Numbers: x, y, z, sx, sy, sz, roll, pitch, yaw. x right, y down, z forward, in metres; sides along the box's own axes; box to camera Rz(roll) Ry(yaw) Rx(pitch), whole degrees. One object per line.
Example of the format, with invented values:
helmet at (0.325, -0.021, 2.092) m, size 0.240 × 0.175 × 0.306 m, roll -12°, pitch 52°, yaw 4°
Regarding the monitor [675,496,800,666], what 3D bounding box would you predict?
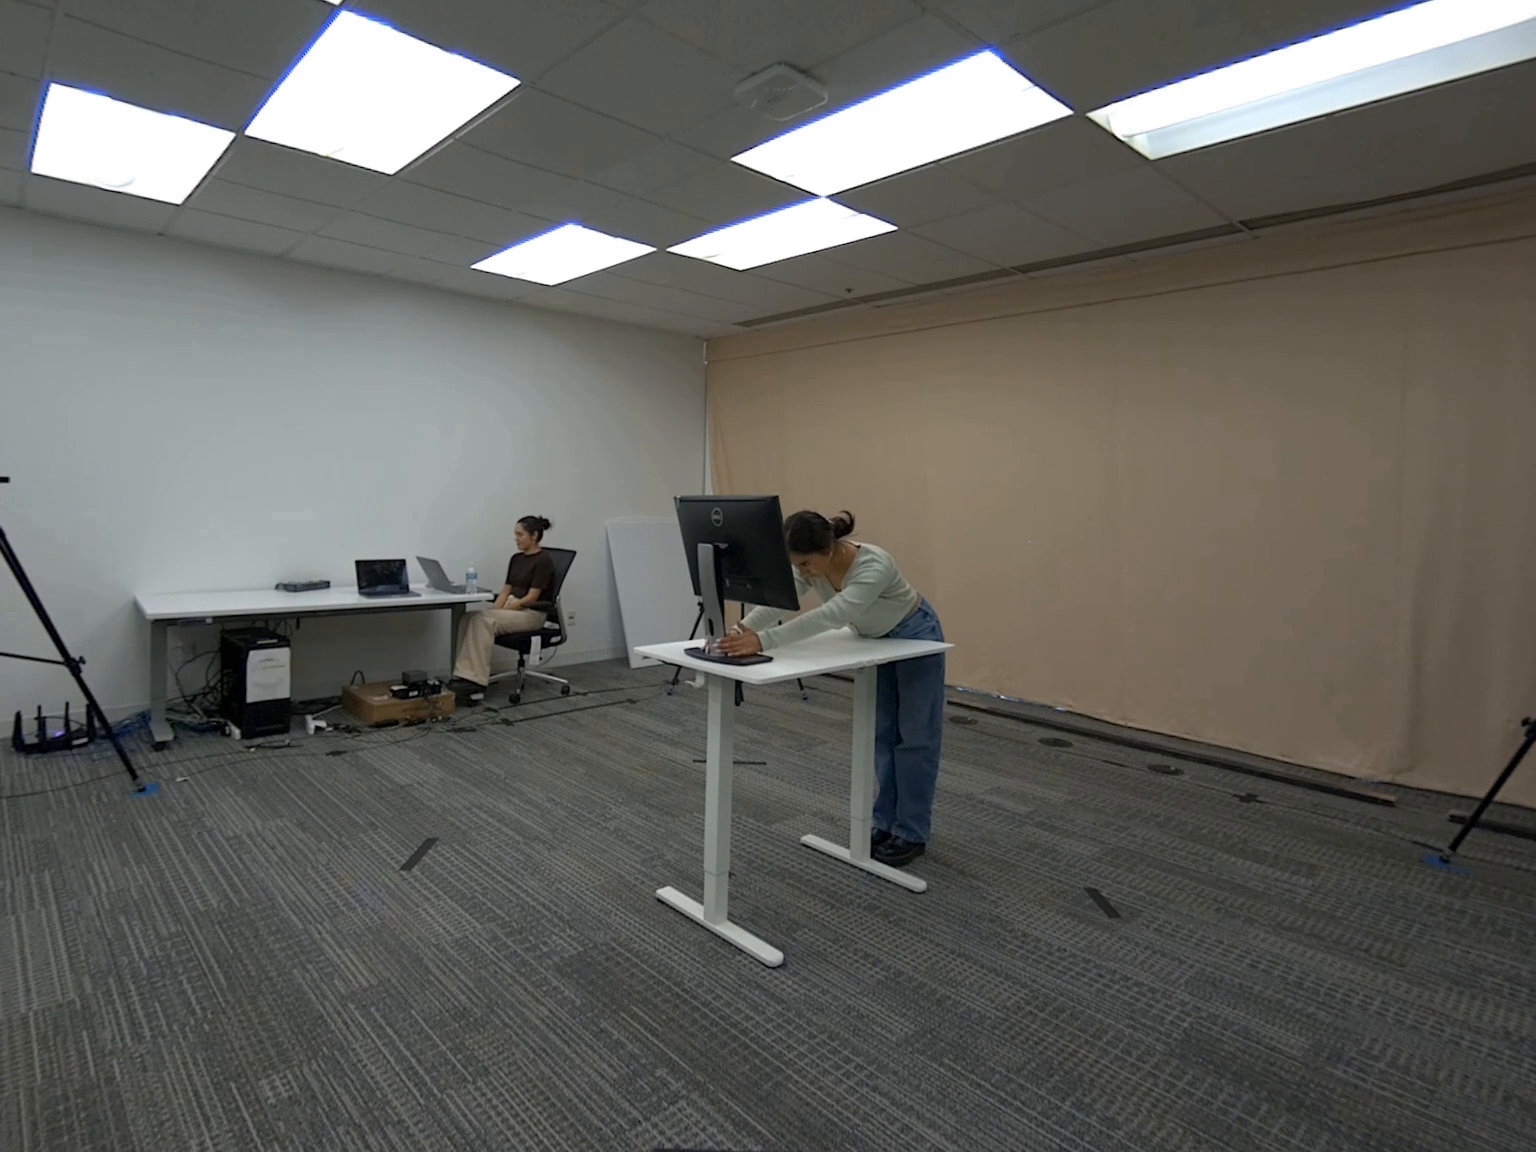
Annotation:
monitor at (-0.139, 0.008, 2.628) m, size 0.183 × 0.521 × 0.552 m, roll -4°, pitch 6°, yaw -40°
